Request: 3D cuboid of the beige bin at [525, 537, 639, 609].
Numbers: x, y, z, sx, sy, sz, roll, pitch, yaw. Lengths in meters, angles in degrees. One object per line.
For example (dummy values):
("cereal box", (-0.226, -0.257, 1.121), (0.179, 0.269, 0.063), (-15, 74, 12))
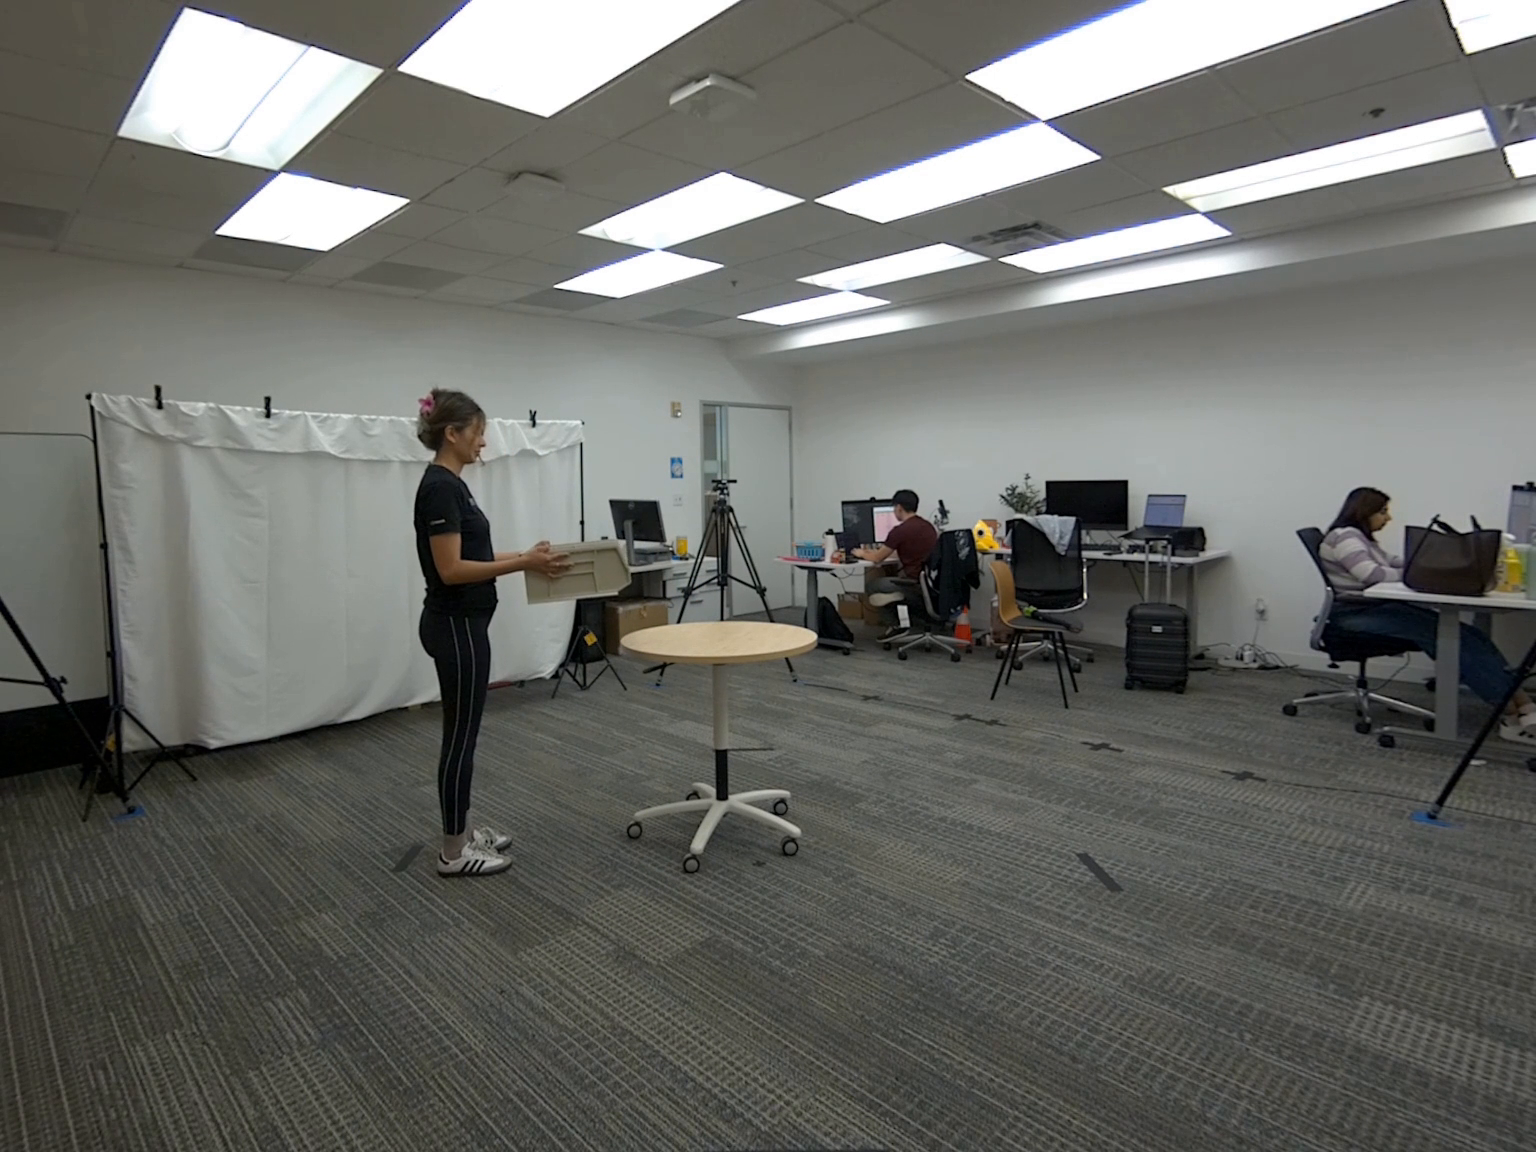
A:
("beige bin", (-0.698, -0.023, 3.193), (0.374, 0.188, 0.428), (-7, 6, -11))
